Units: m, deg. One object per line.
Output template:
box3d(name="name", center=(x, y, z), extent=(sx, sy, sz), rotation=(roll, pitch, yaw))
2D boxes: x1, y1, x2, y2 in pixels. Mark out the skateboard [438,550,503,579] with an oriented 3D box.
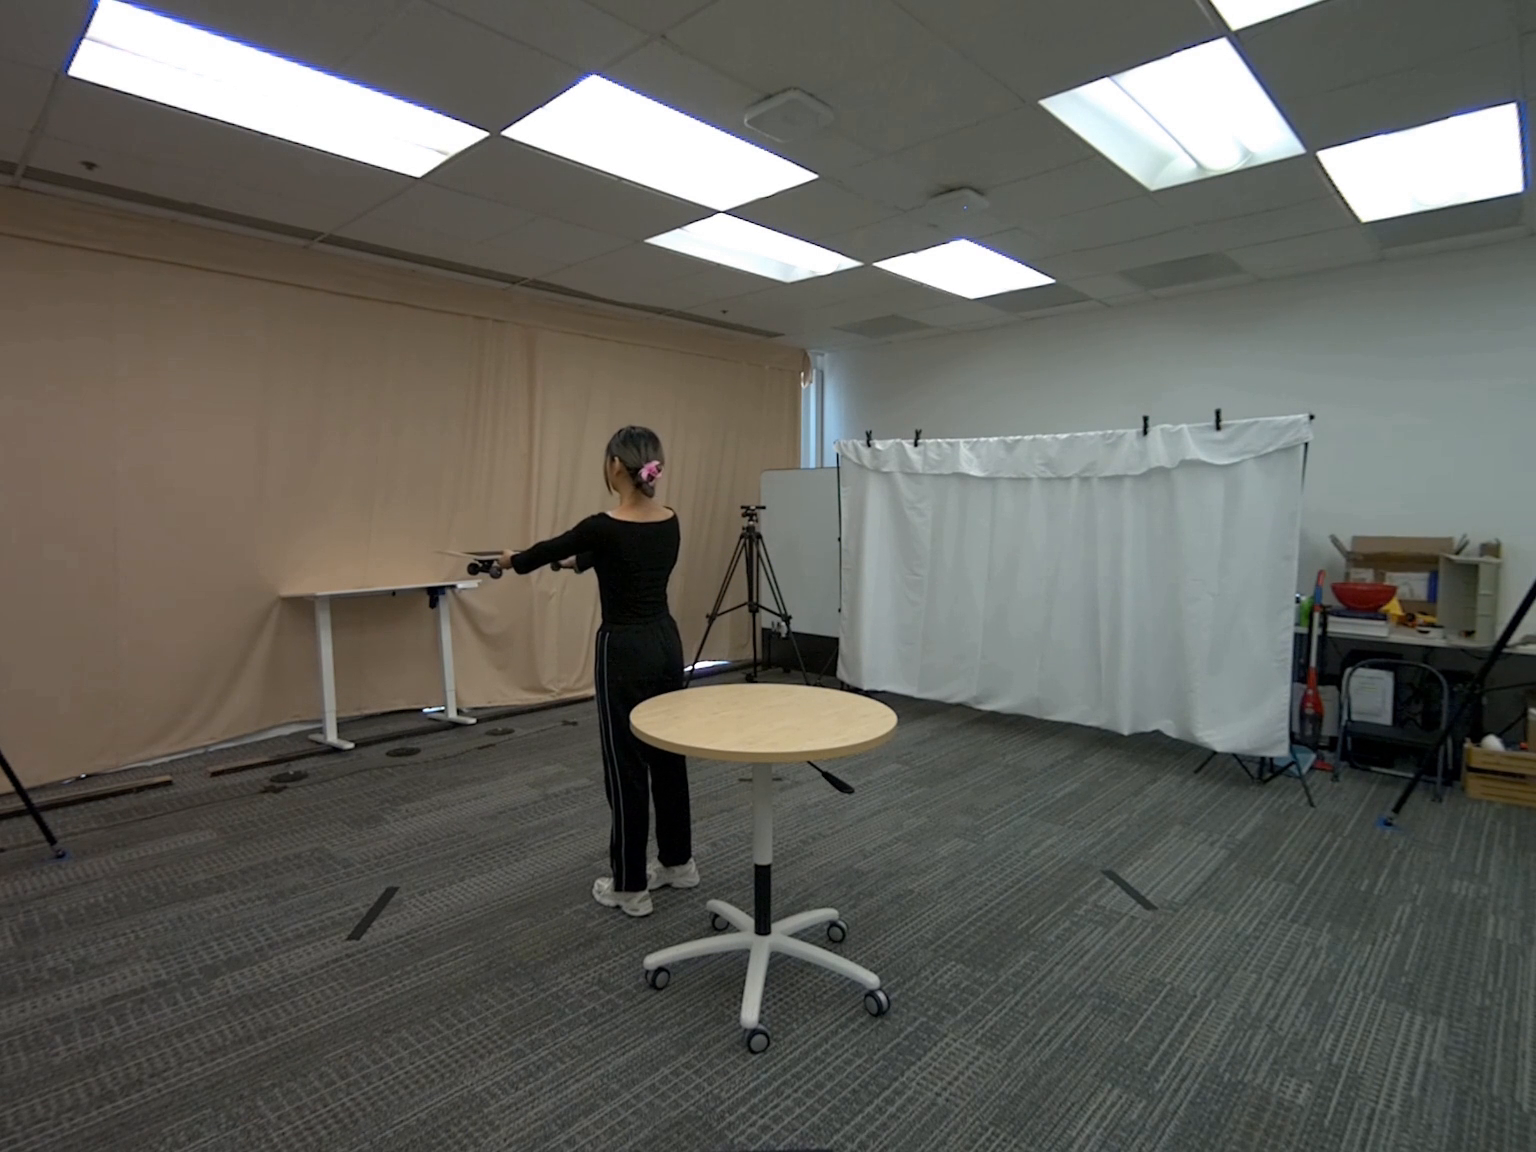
box3d(name="skateboard", center=(-0.961, -0.059, 3.344), extent=(0.200, 0.110, 0.761), rotation=(3, 4, 40))
